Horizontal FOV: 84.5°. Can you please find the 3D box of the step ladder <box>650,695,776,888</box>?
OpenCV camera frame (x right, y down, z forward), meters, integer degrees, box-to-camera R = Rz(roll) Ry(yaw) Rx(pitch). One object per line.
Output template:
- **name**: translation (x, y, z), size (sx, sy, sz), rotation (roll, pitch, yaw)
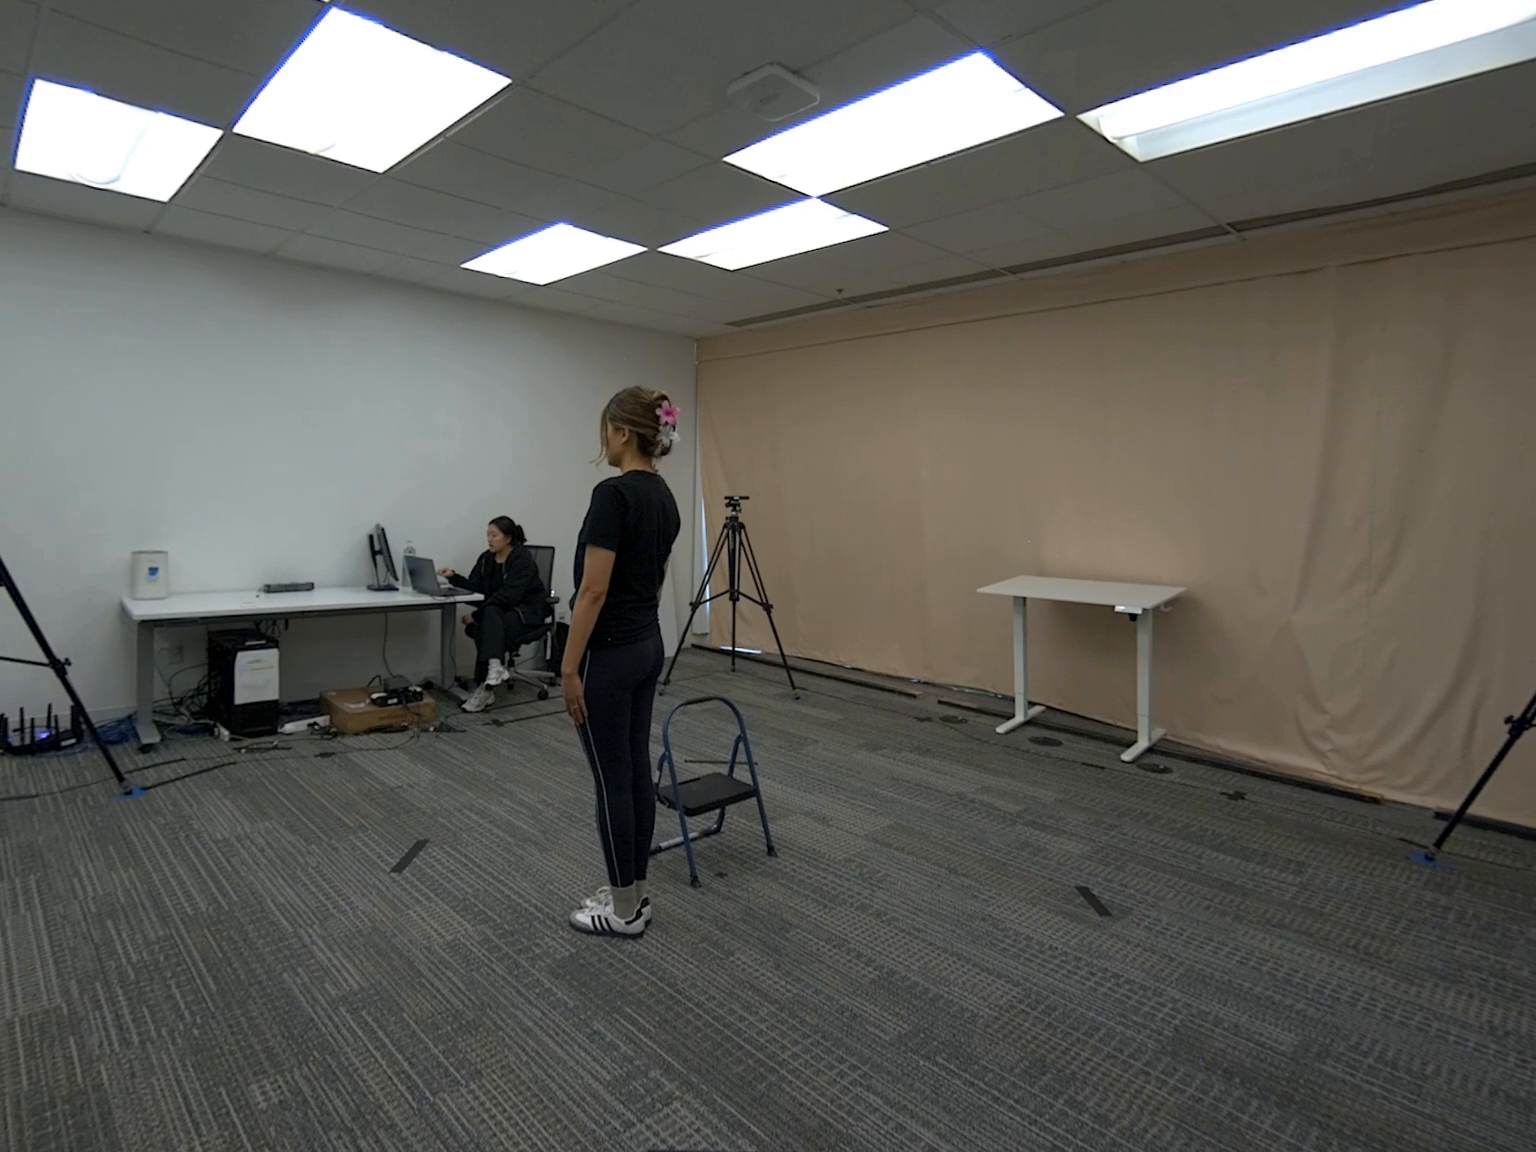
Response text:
- **step ladder**: translation (-0.229, 0.784, 3.252), size (0.358, 0.605, 0.421), rotation (5, 5, 44)
